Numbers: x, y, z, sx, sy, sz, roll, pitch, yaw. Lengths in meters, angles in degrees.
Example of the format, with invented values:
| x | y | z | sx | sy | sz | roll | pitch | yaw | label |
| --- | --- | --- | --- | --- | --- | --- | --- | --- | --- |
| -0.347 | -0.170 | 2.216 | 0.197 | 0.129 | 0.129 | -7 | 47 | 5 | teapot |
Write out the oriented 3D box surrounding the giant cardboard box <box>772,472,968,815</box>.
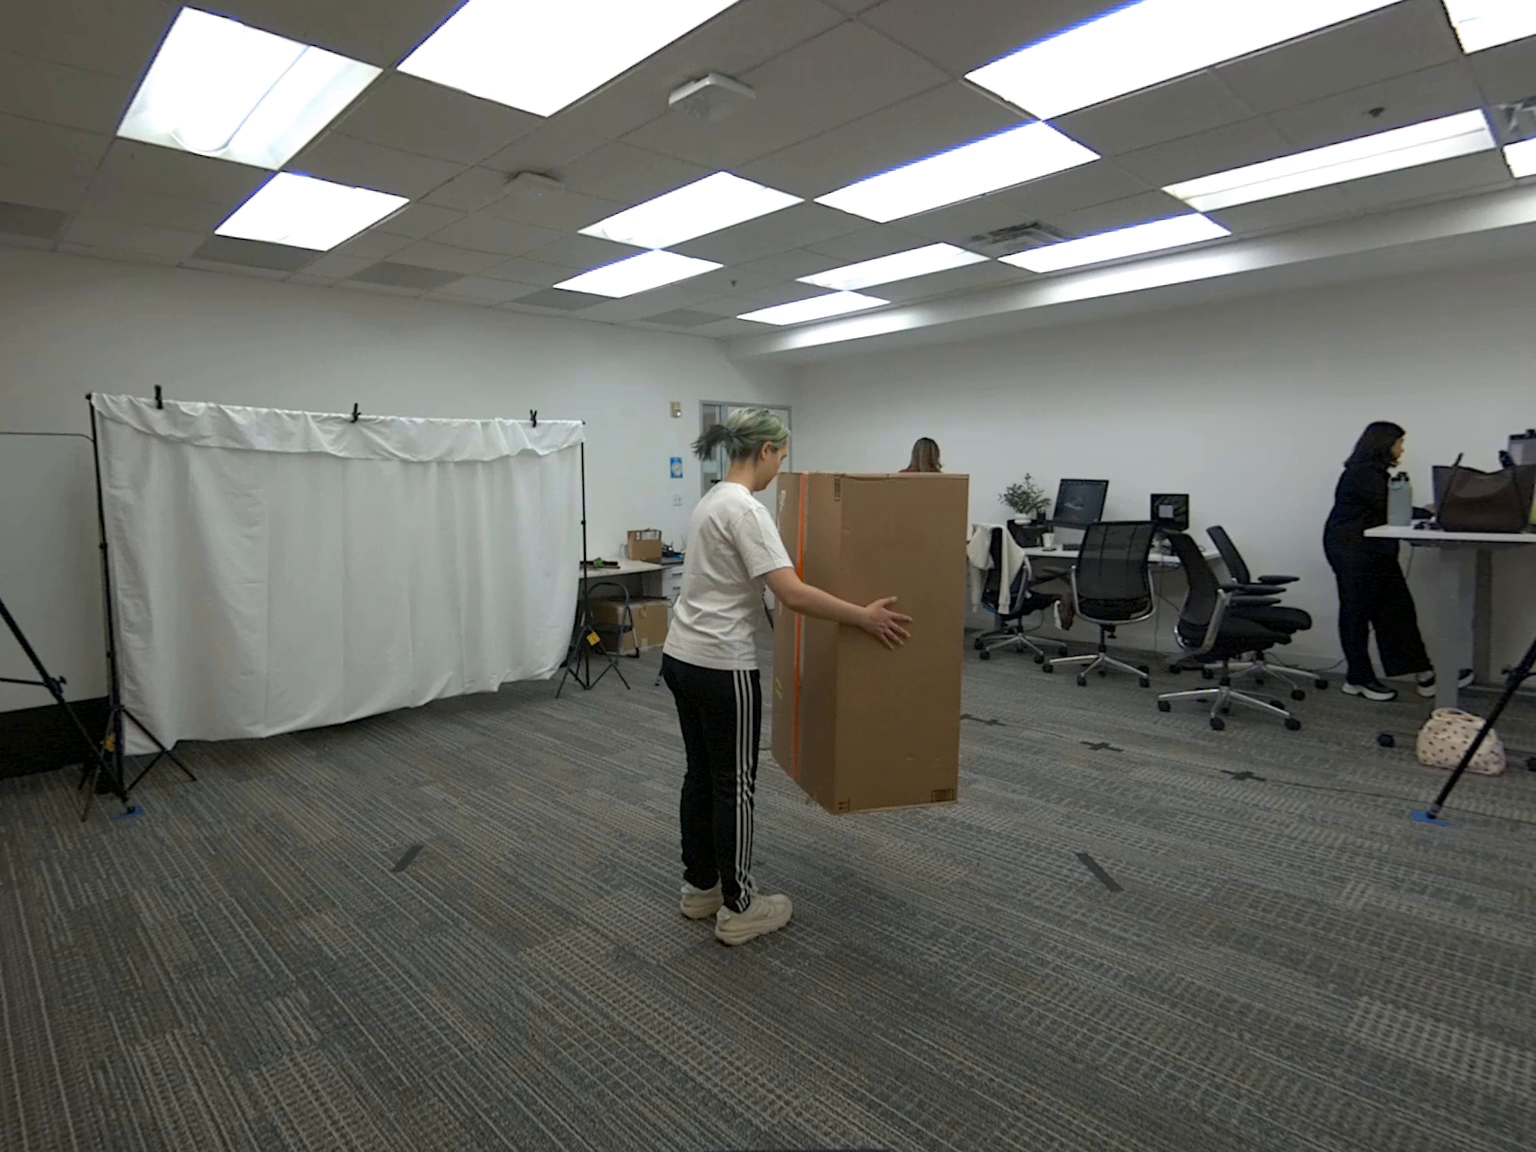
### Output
| x | y | z | sx | sy | sz | roll | pitch | yaw | label |
| --- | --- | --- | --- | --- | --- | --- | --- | --- | --- |
| 0.307 | 0.180 | 2.831 | 0.419 | 1.022 | 0.589 | 0 | 5 | -18 | giant cardboard box |
